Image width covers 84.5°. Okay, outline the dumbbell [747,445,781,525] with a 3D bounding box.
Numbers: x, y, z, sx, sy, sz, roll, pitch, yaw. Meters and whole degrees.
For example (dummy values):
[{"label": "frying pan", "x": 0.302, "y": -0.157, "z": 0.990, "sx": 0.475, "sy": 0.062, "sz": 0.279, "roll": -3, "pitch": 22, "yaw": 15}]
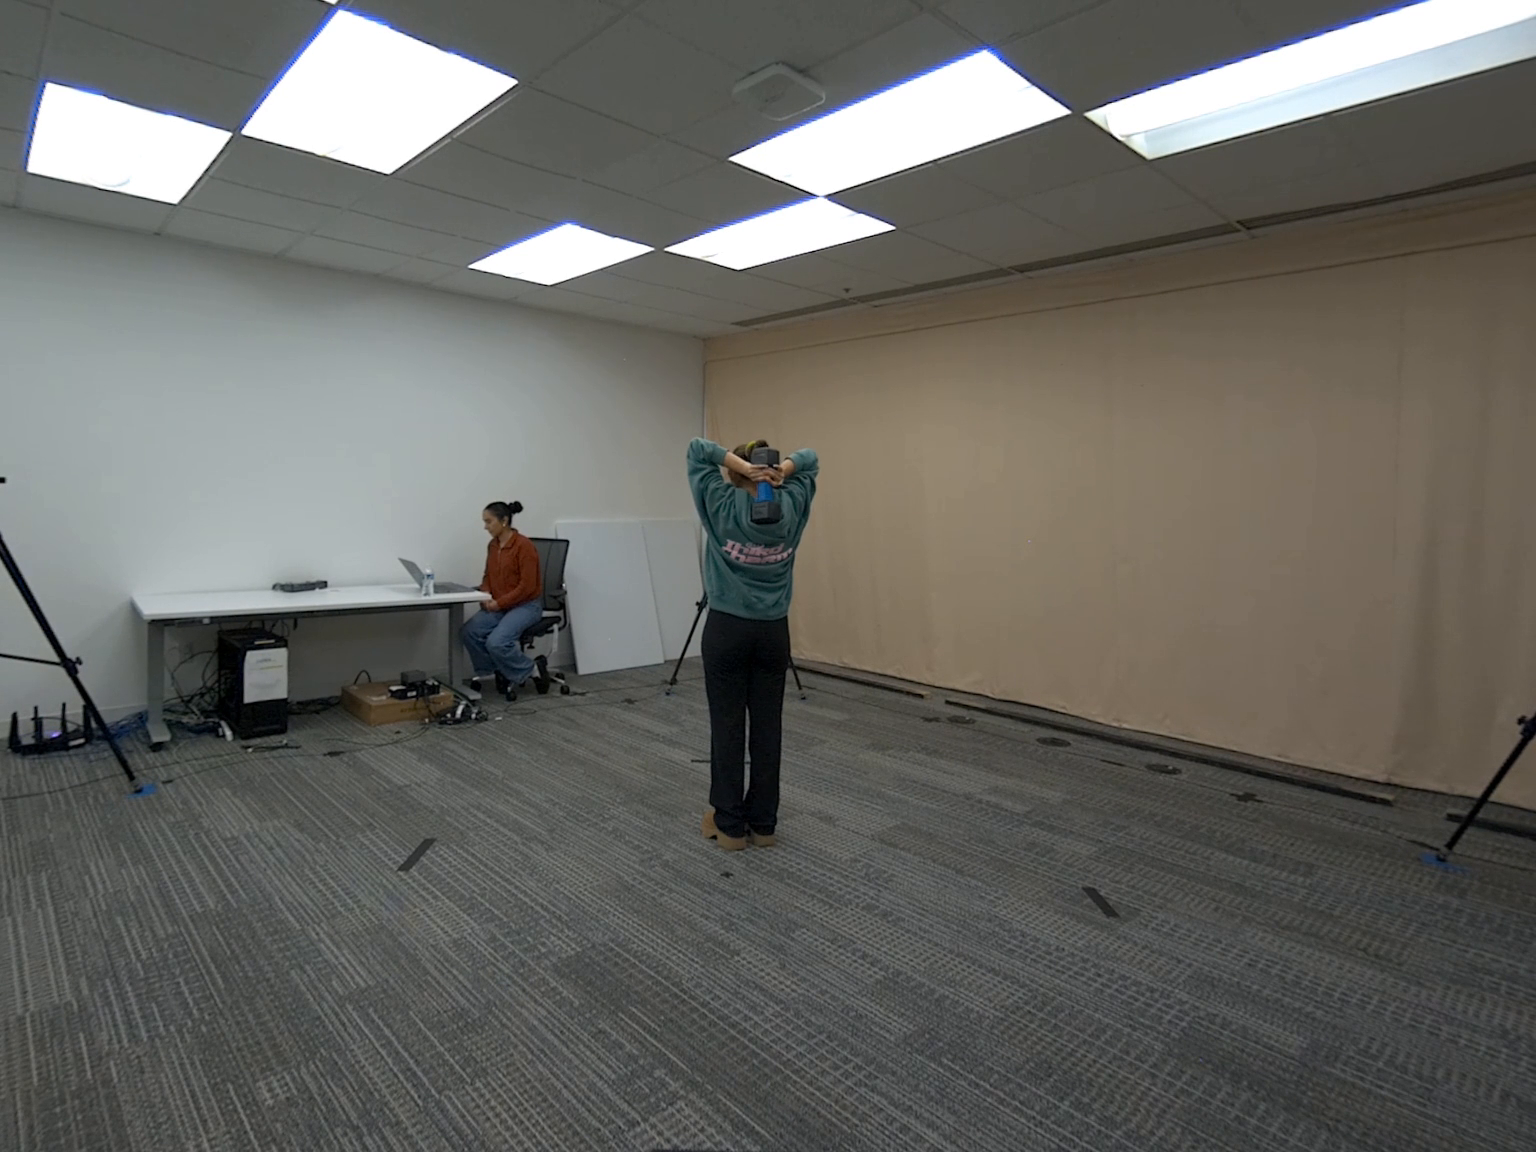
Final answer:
[{"label": "dumbbell", "x": -0.018, "y": -0.347, "z": 3.258, "sx": 0.107, "sy": 0.296, "sz": 0.123, "roll": 4, "pitch": -14, "yaw": -18}]
